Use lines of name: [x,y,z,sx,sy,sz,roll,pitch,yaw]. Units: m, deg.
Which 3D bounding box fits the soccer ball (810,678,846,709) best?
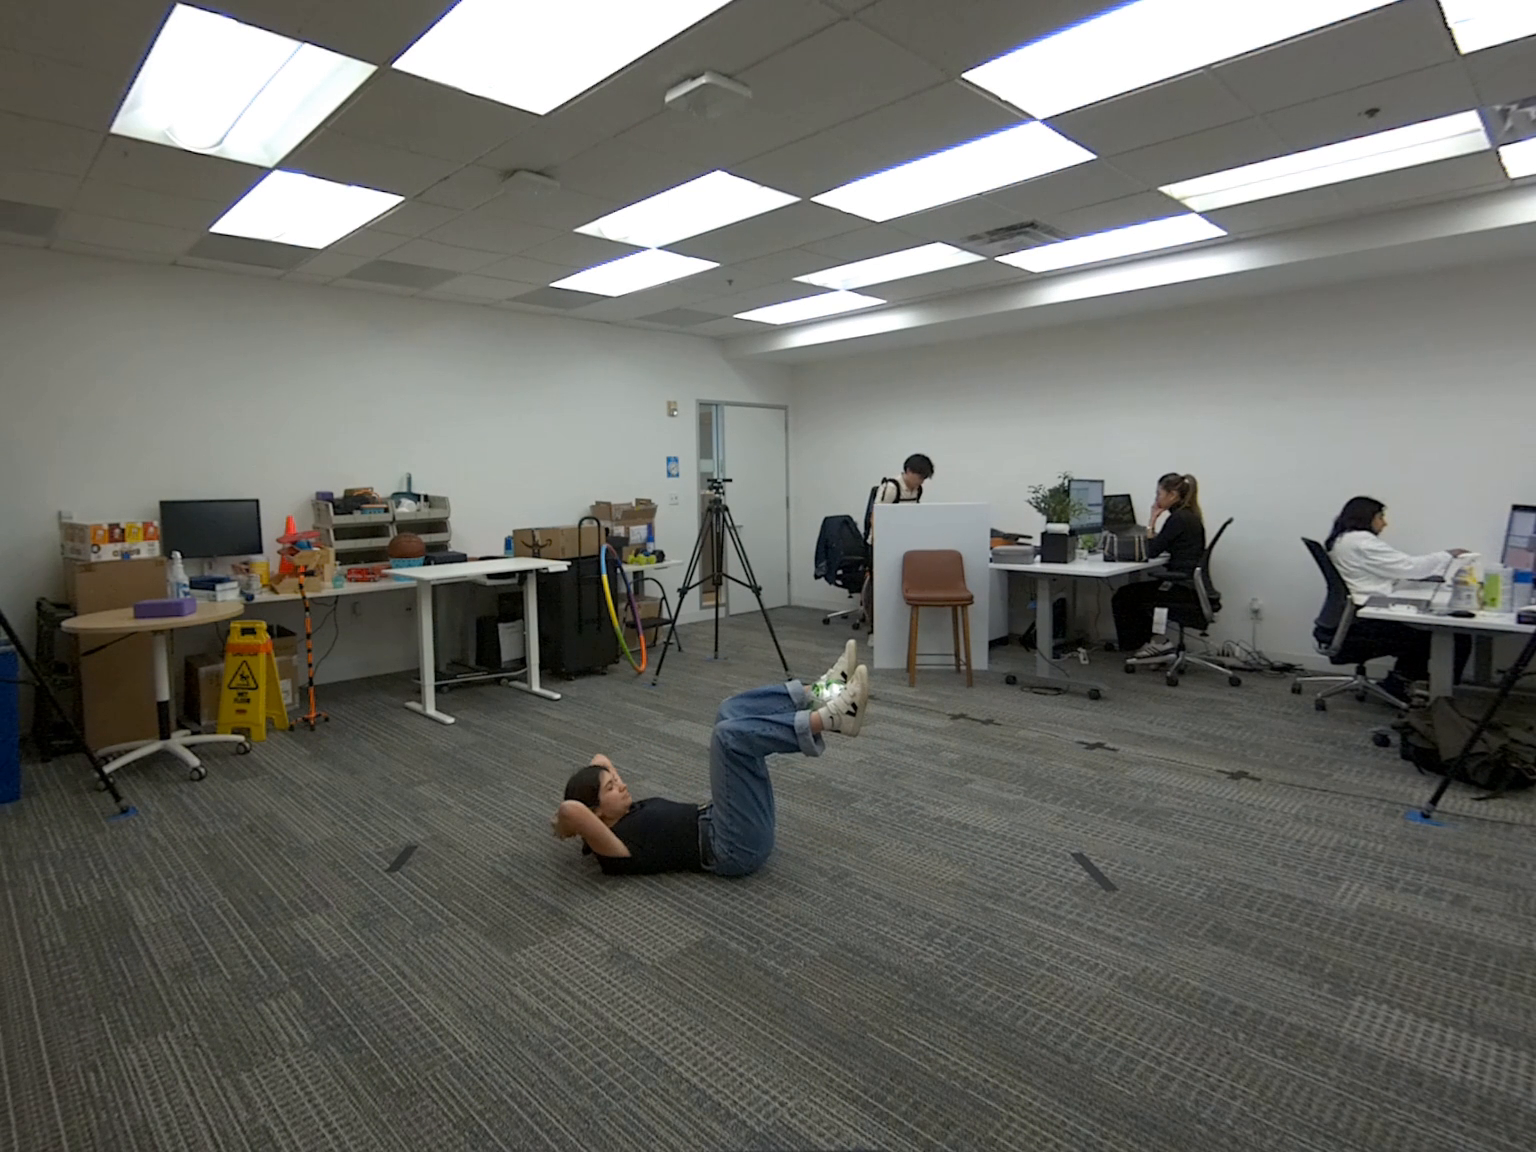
soccer ball: [0.236,0.465,3.047,0.187,0.187,0.188,0,1,-2]
